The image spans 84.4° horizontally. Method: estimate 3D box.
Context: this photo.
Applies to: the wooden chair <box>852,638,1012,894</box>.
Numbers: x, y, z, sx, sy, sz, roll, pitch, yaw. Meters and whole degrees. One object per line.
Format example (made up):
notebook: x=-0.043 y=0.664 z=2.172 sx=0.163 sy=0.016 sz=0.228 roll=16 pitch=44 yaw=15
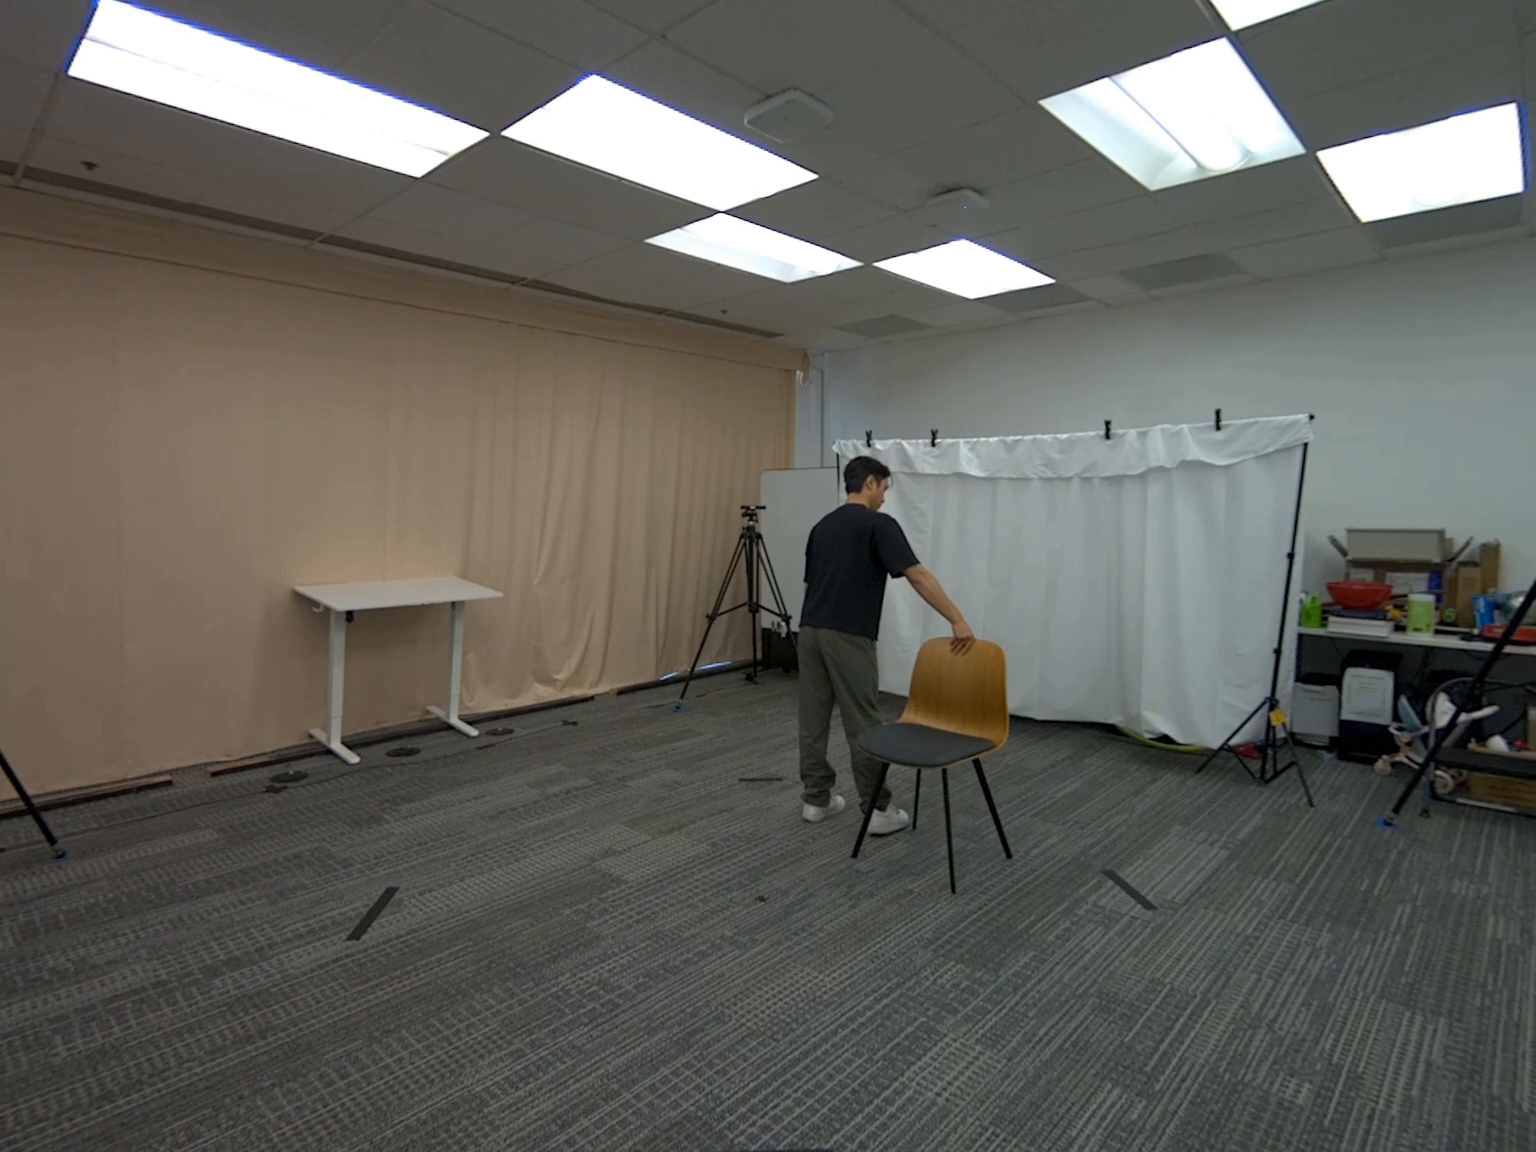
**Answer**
wooden chair: x=0.646 y=0.687 z=3.283 sx=0.494 sy=0.877 sz=0.506 roll=3 pitch=-1 yaw=43
